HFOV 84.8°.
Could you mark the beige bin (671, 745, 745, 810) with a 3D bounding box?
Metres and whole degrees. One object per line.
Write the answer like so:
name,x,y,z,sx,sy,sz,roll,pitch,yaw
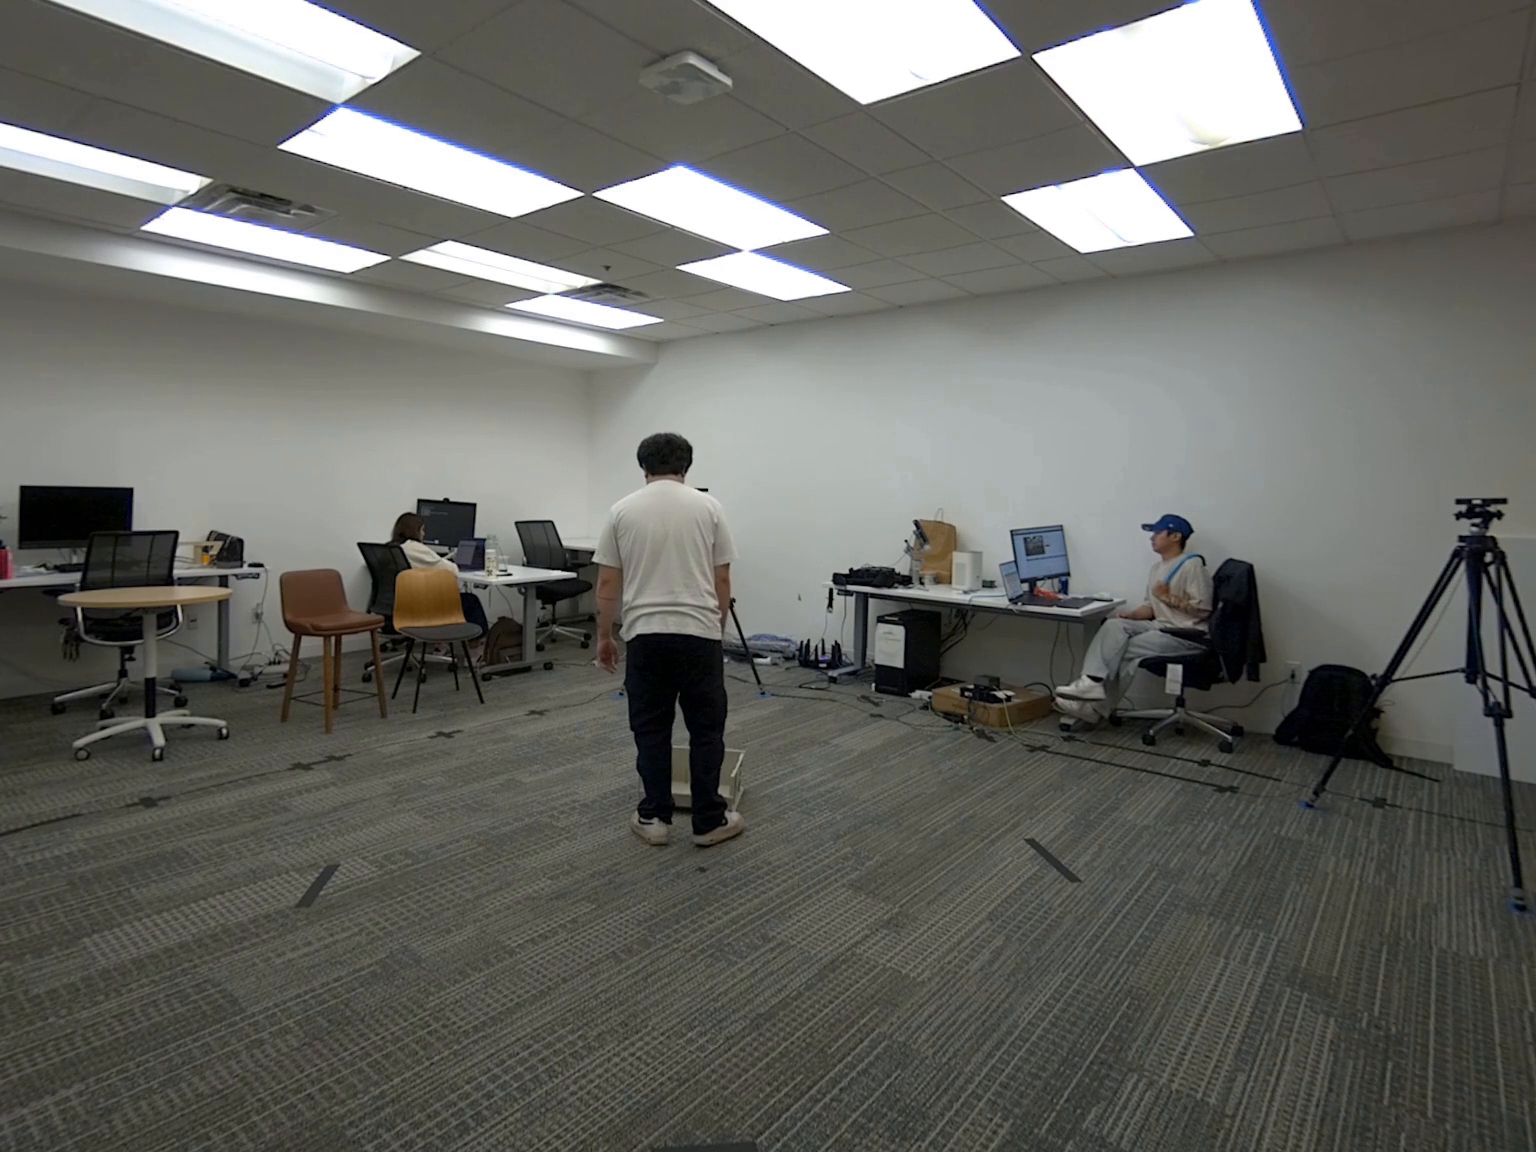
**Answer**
beige bin,-0.342,0.908,3.809,0.426,0.188,0.375,1,4,7
